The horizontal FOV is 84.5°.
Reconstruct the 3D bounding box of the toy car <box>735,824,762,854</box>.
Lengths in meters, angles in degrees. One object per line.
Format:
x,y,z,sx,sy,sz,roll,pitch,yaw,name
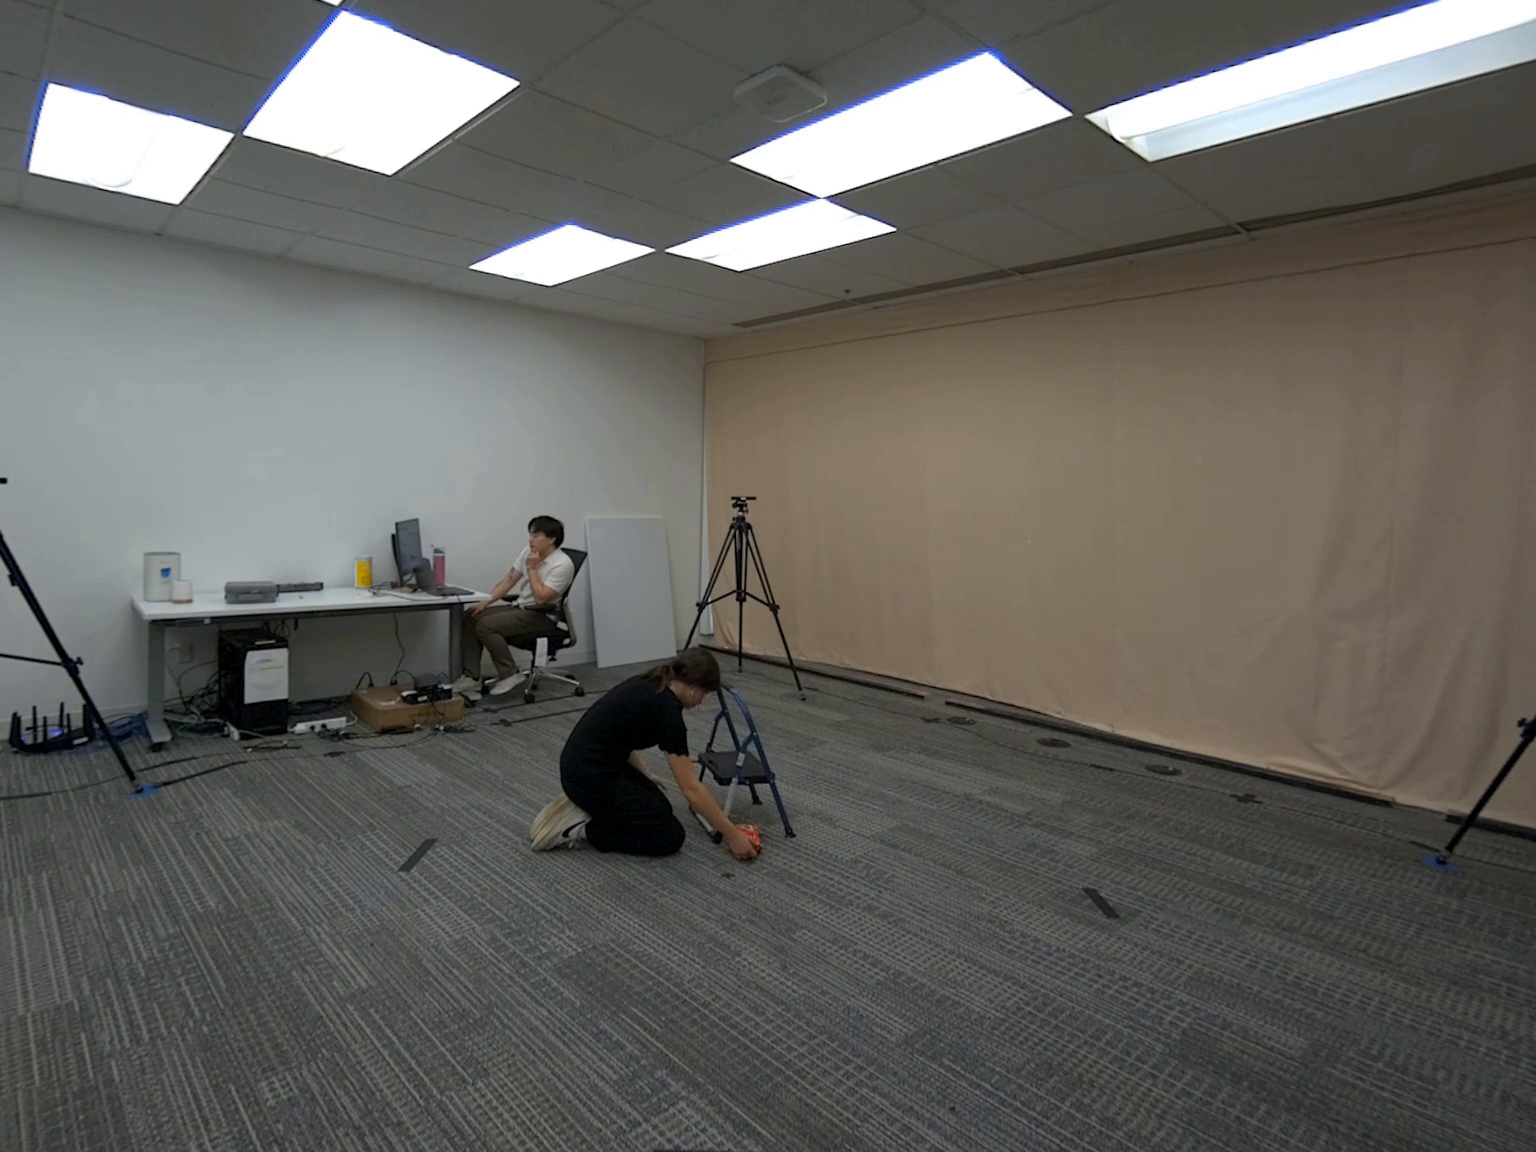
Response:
-0.121,1.061,3.365,0.130,0.083,0.254,3,-4,-4,toy car
